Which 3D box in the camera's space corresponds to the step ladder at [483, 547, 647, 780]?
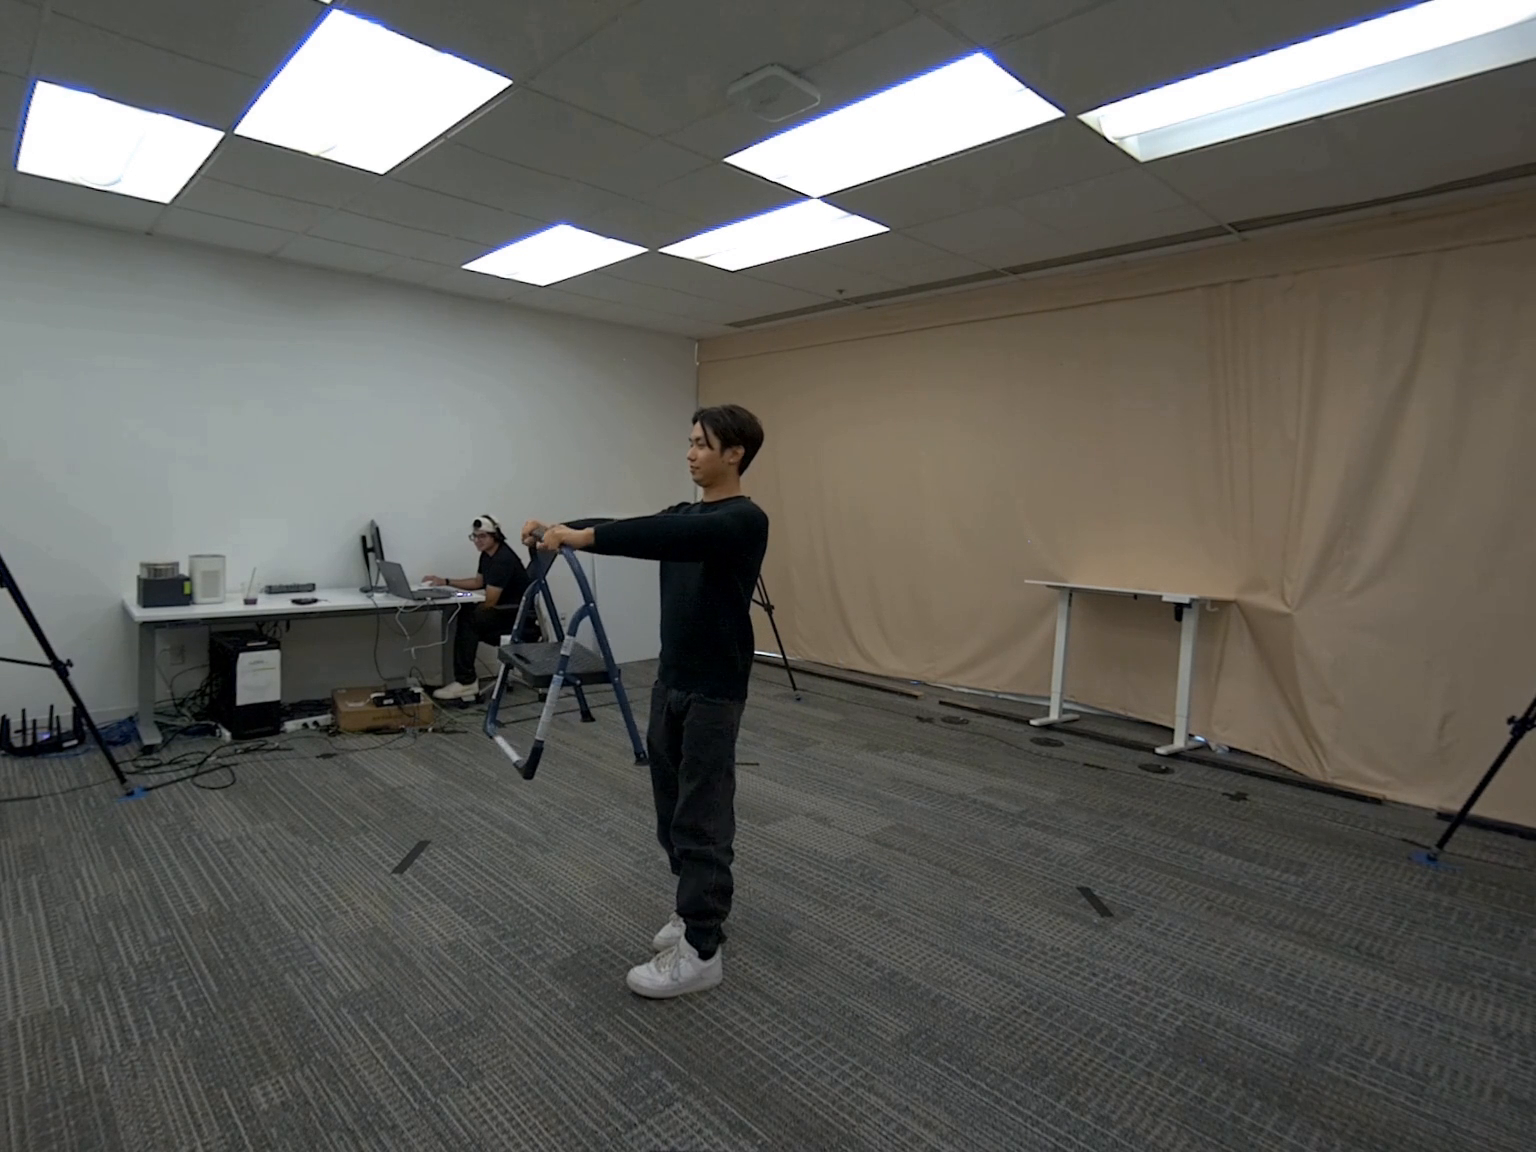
[{"bbox_3d":[-0.566,0.182,2.315,0.342,0.603,0.441,-2,7,-34],"label":"step ladder"}]
